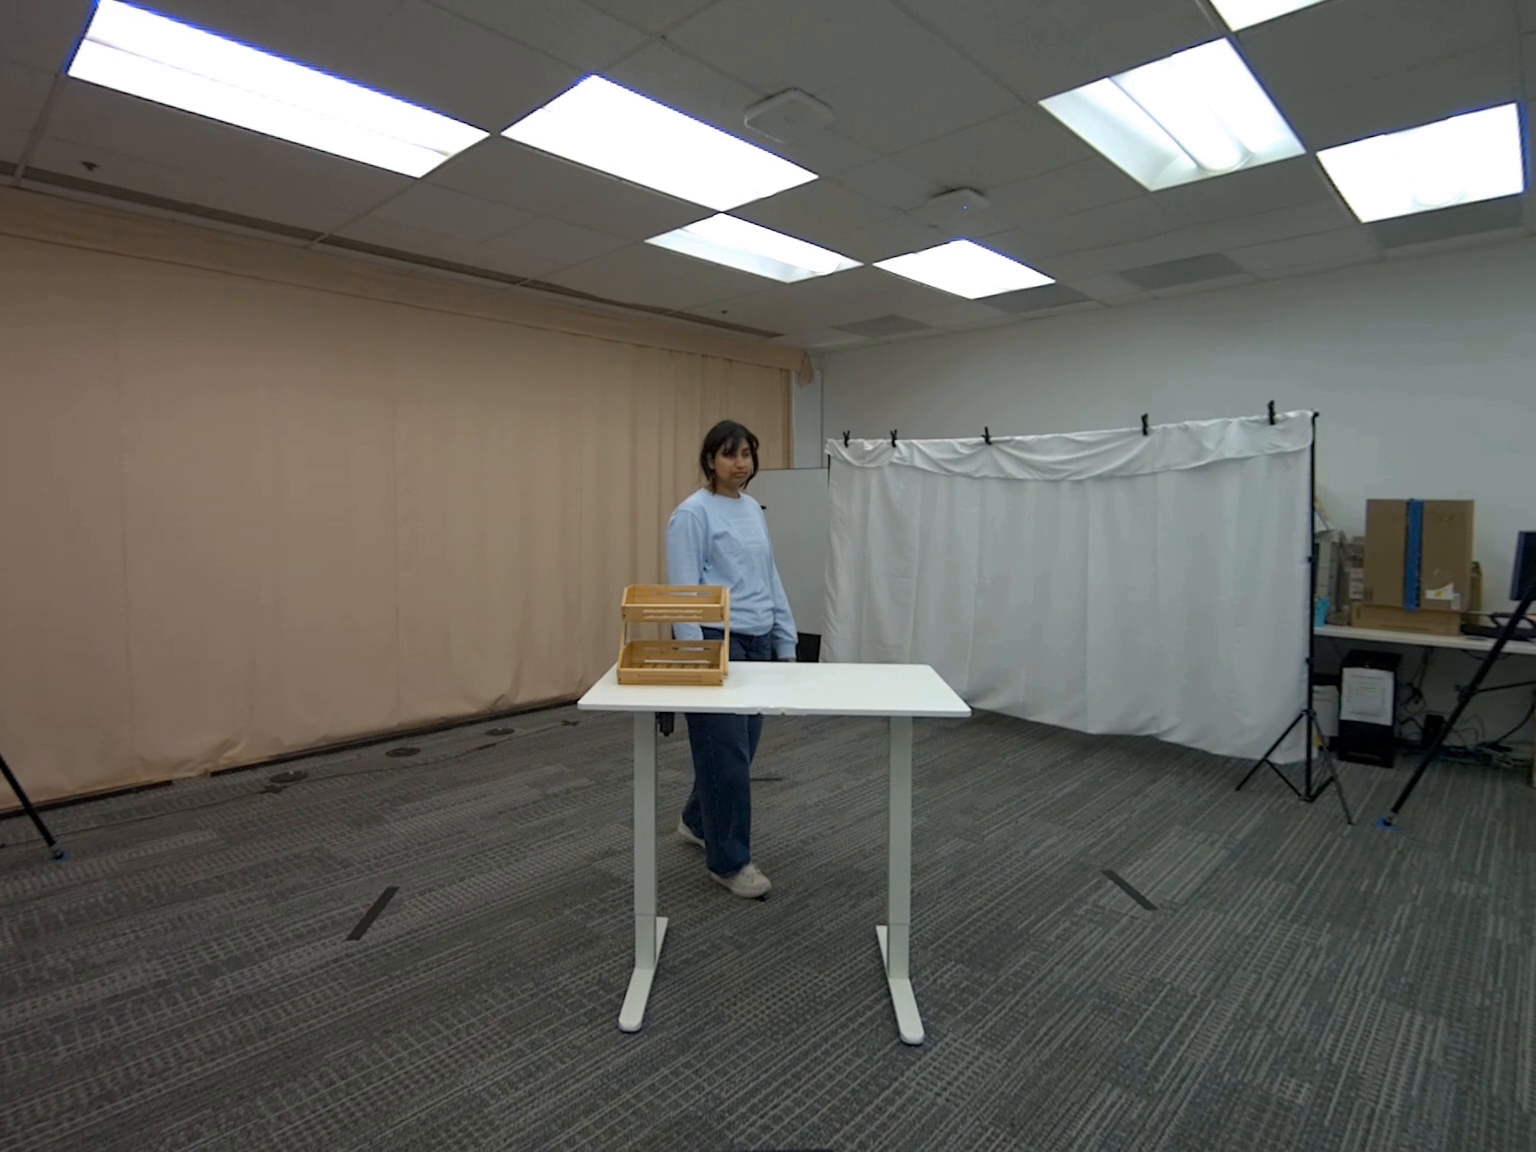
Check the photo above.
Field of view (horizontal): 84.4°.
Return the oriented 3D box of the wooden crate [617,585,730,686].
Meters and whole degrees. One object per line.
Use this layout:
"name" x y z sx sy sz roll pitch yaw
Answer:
"wooden crate" -0.276 0.166 2.516 0.325 0.273 0.302 0 3 1
